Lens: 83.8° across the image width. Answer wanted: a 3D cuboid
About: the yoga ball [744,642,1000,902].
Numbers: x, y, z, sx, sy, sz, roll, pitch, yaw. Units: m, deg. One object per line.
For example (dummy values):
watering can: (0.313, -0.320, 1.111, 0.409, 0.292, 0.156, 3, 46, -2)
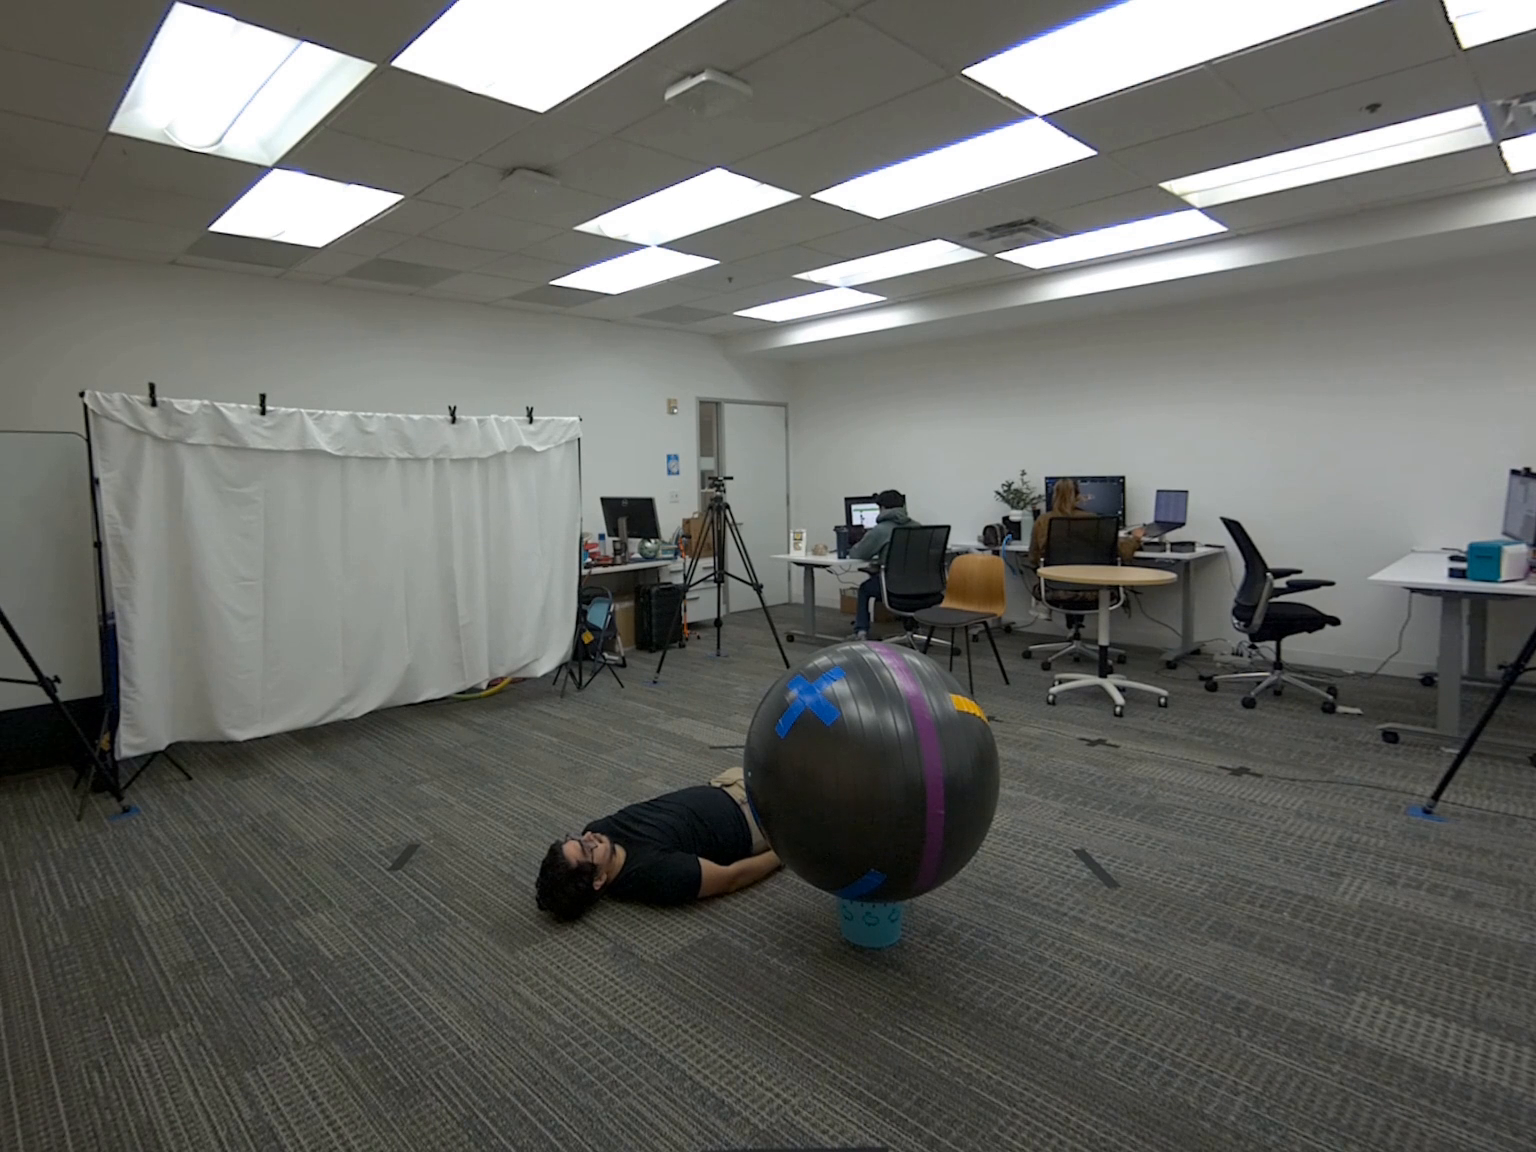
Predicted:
yoga ball: (0.310, 0.585, 2.584, 0.757, 0.755, 0.761, -1, 4, -2)
